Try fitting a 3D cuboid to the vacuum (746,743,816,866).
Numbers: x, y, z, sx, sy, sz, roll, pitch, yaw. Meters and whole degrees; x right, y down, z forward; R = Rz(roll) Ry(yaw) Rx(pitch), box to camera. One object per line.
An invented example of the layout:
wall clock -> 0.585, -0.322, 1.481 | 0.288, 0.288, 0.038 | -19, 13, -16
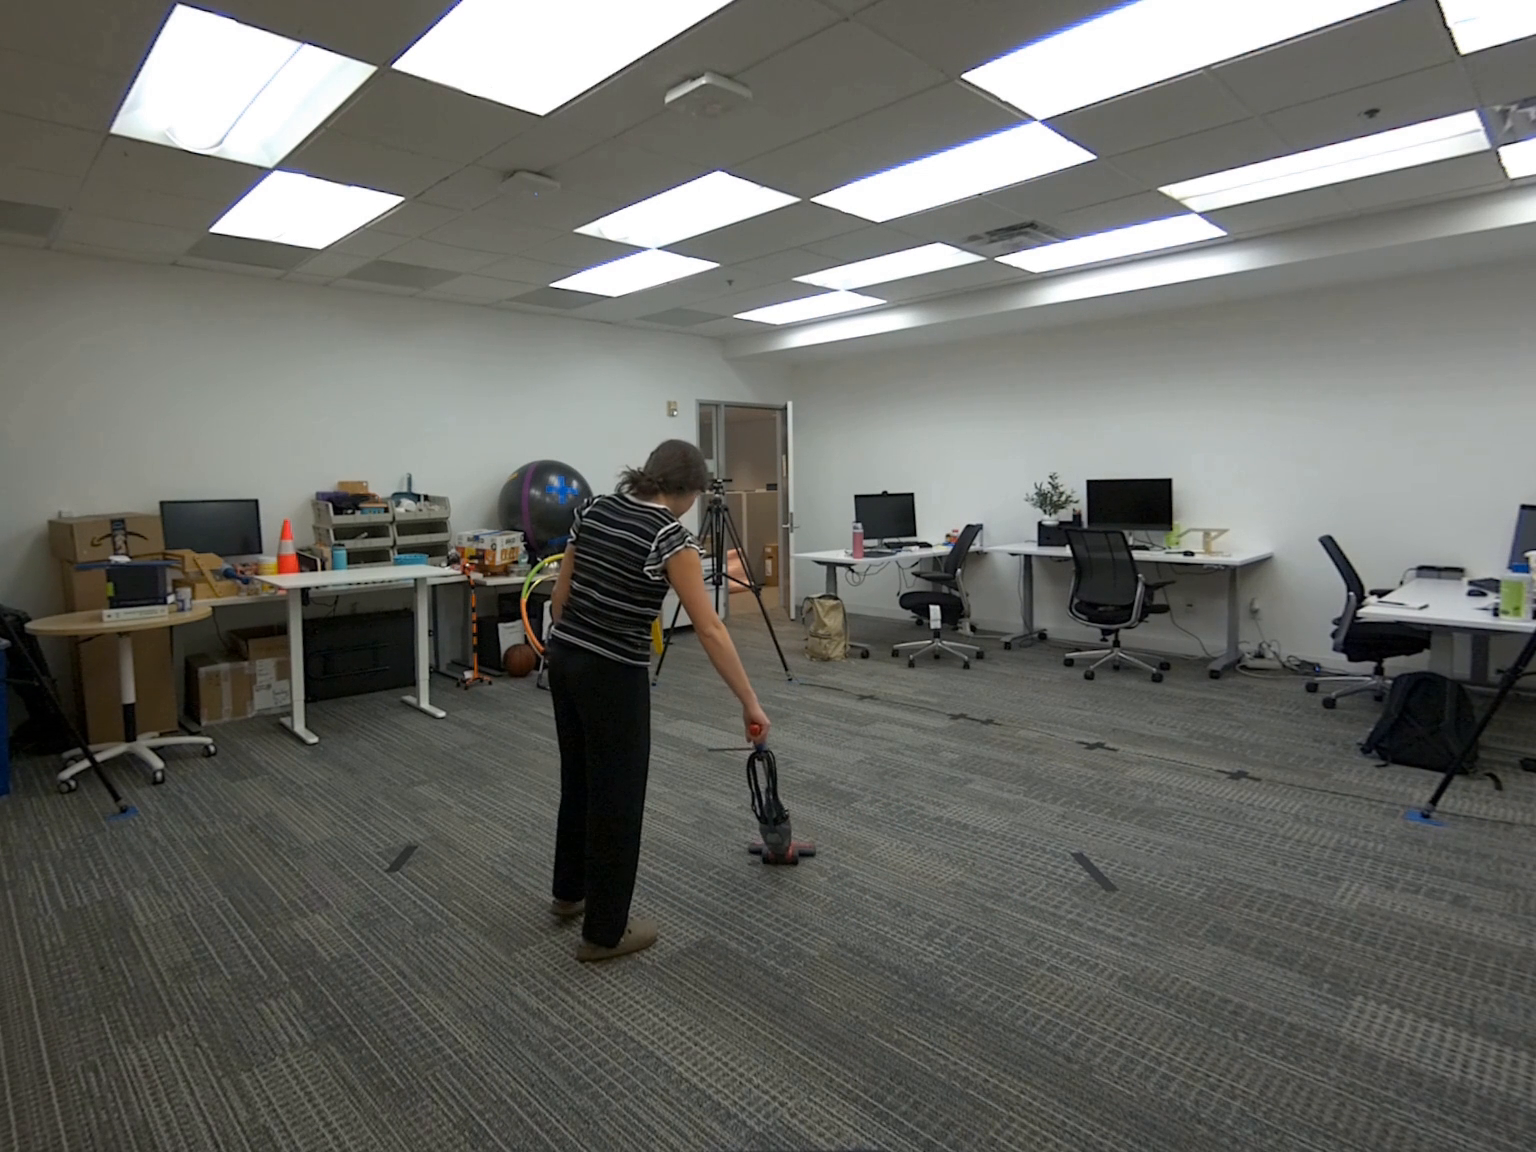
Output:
vacuum -> 0.004, 0.726, 2.759 | 0.255, 0.147, 1.018 | 4, -36, 9
